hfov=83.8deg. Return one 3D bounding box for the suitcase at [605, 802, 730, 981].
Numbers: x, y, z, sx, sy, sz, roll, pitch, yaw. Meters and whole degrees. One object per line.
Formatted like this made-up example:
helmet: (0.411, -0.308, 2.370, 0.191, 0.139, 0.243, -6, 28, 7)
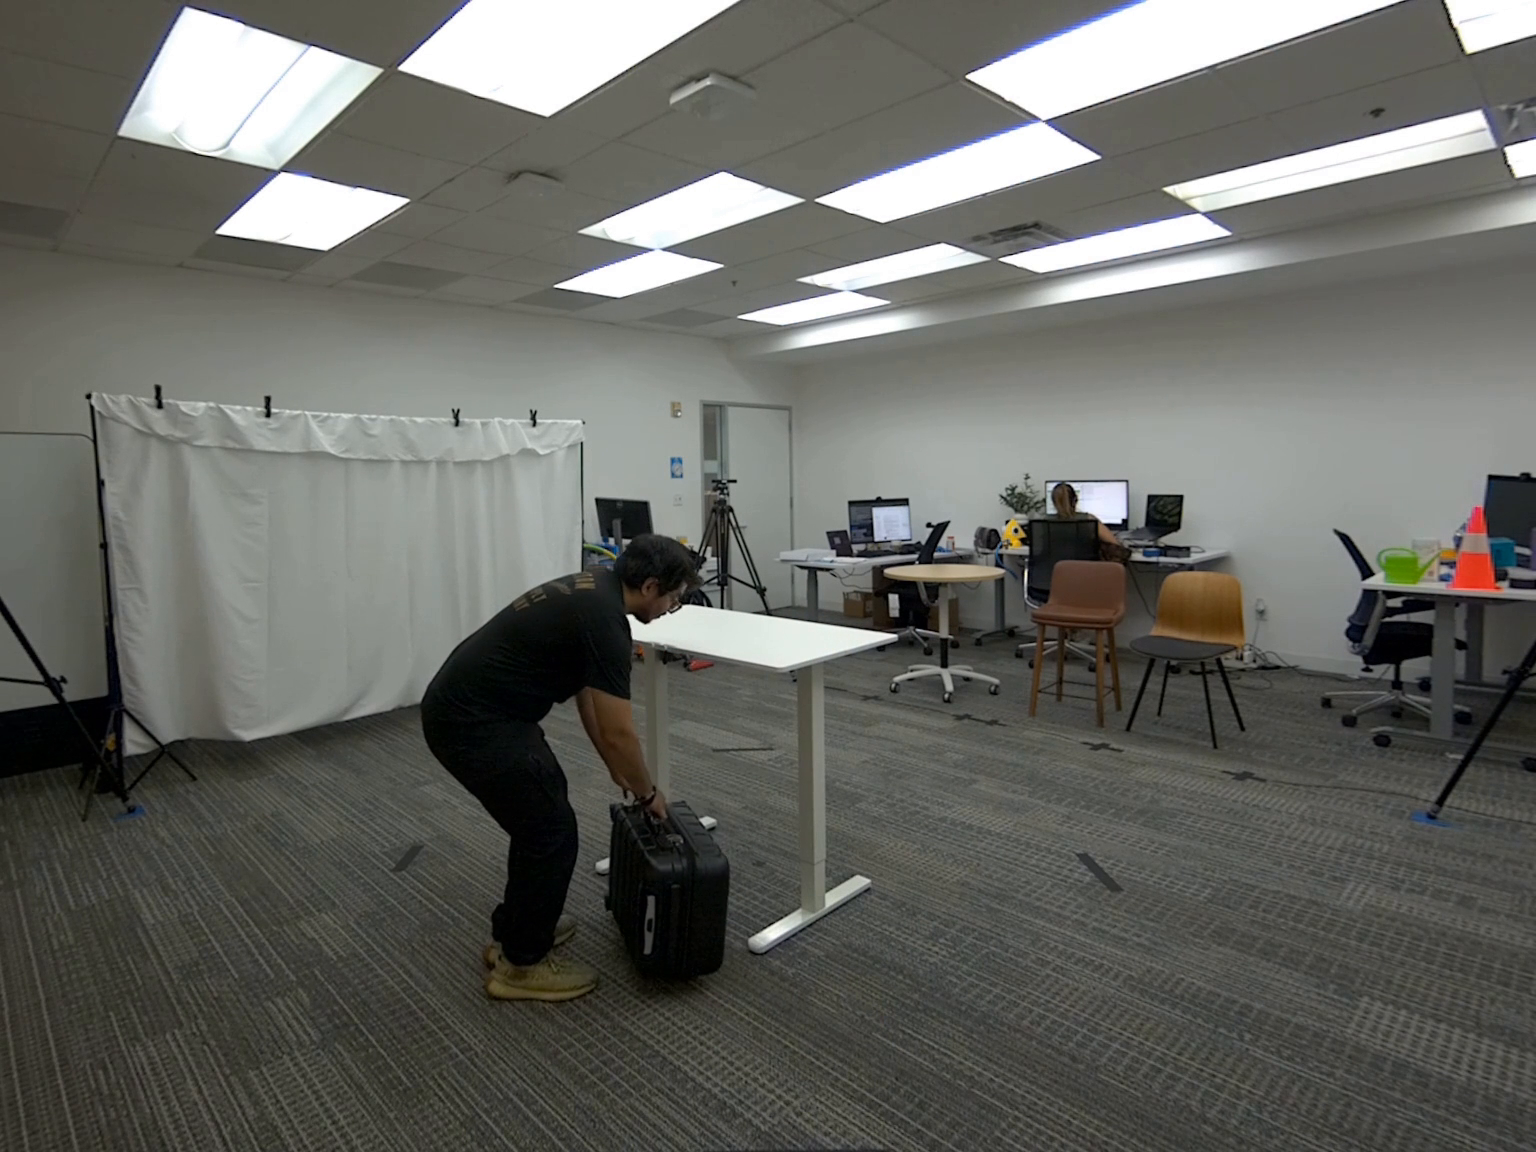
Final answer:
suitcase: (-0.301, 0.906, 2.543, 0.243, 0.375, 0.560, 4, 2, -21)
